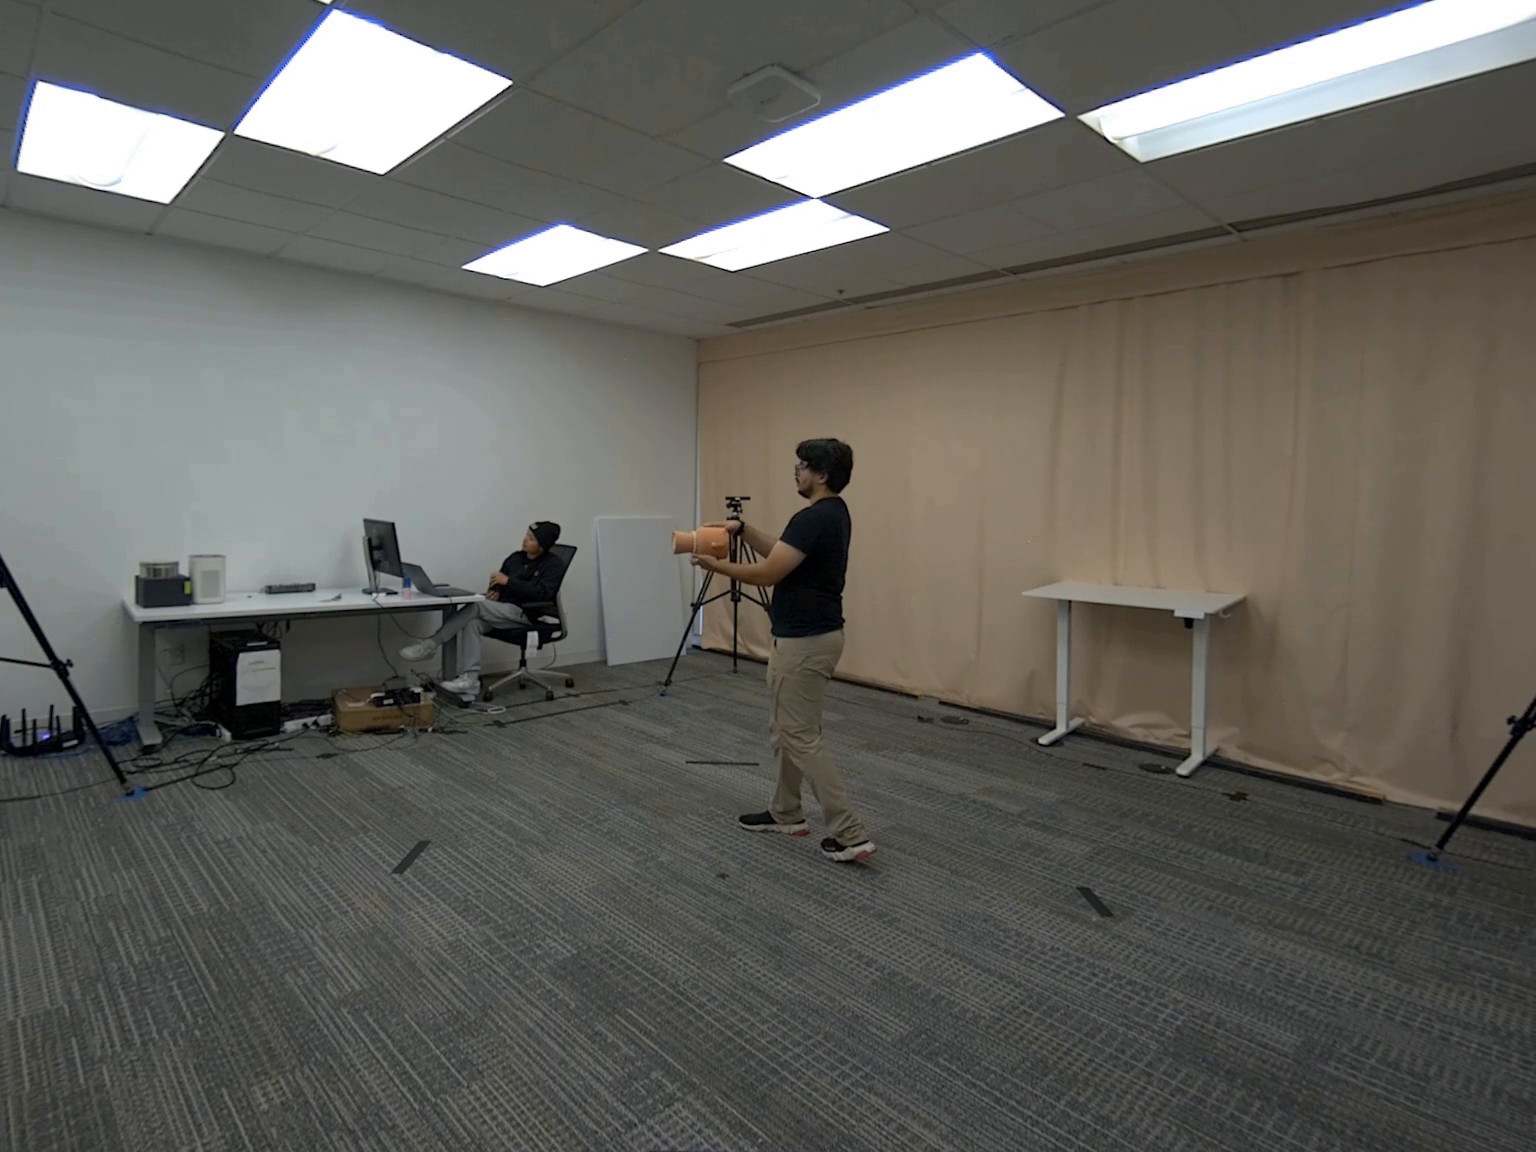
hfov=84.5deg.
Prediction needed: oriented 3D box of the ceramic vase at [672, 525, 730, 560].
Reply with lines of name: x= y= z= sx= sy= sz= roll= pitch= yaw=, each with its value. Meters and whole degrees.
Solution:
ceramic vase: x=-0.281 y=-0.134 z=3.464 sx=0.218 sy=0.138 sz=0.157 roll=0 pitch=-33 yaw=-12
